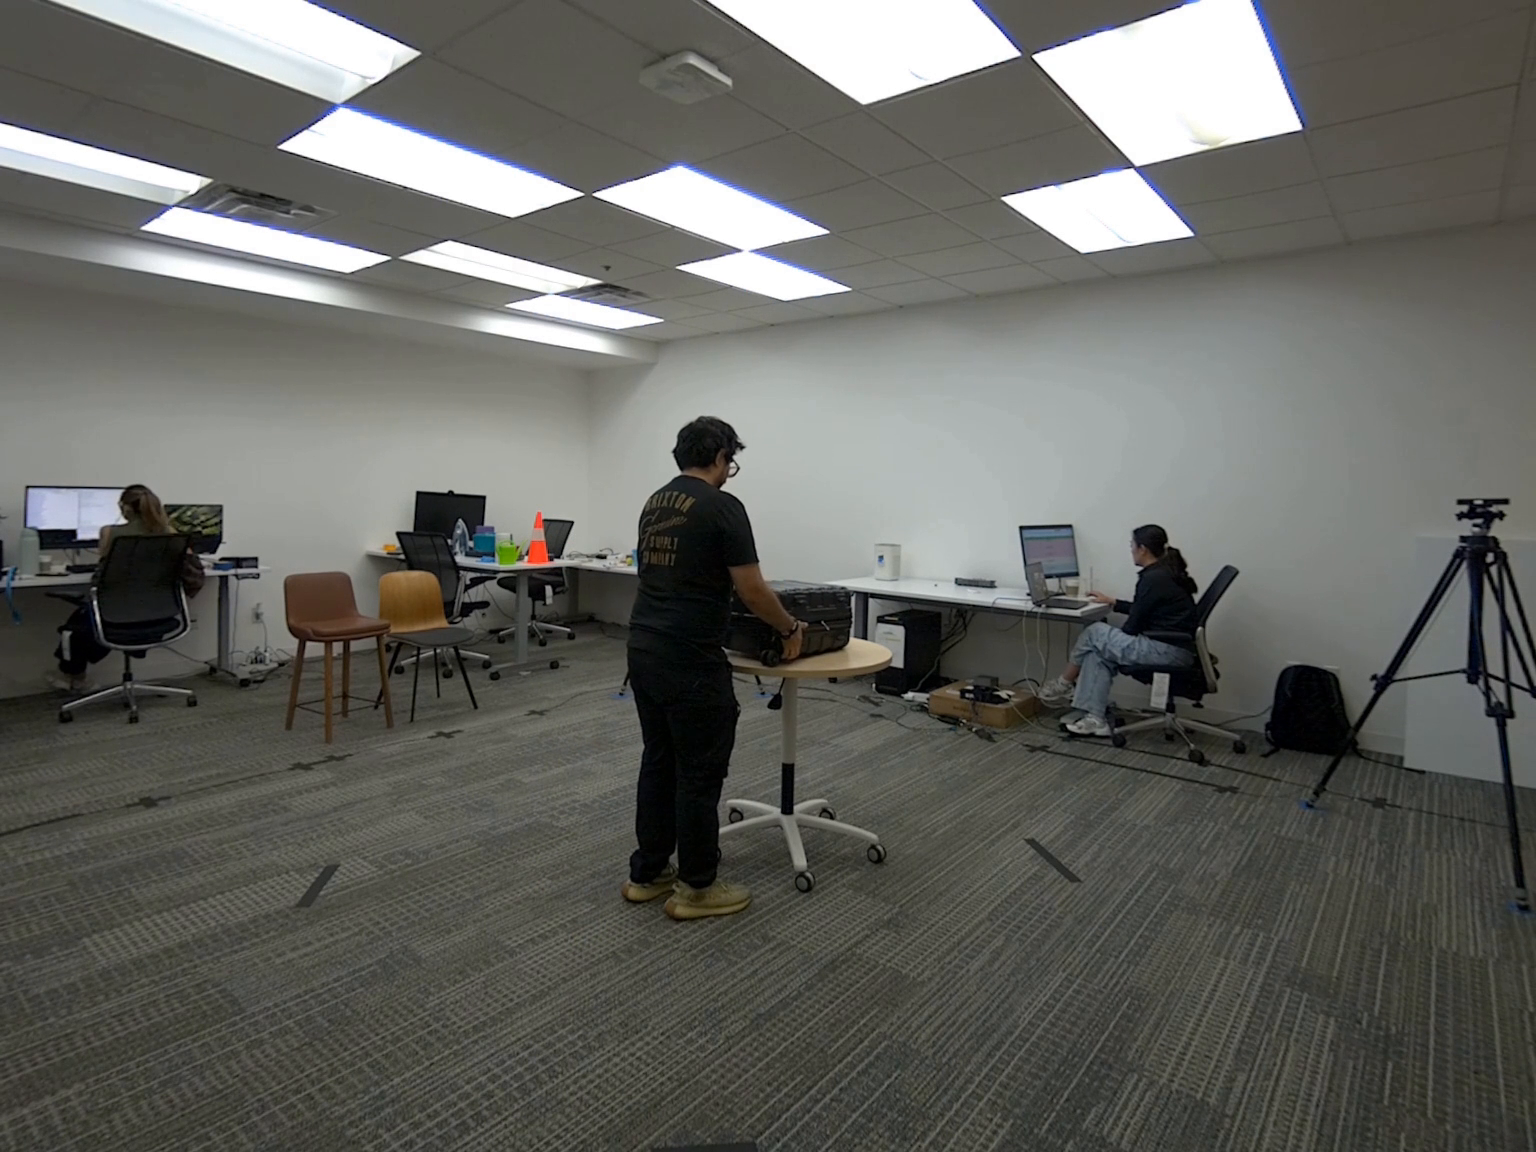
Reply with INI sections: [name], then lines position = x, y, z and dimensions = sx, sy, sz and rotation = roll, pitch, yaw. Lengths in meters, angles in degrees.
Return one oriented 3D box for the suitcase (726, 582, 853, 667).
[suitcase]
position = 0.057, 0.158, 3.230
dimensions = 0.388, 0.247, 0.533
rotation = 5, 5, 39
